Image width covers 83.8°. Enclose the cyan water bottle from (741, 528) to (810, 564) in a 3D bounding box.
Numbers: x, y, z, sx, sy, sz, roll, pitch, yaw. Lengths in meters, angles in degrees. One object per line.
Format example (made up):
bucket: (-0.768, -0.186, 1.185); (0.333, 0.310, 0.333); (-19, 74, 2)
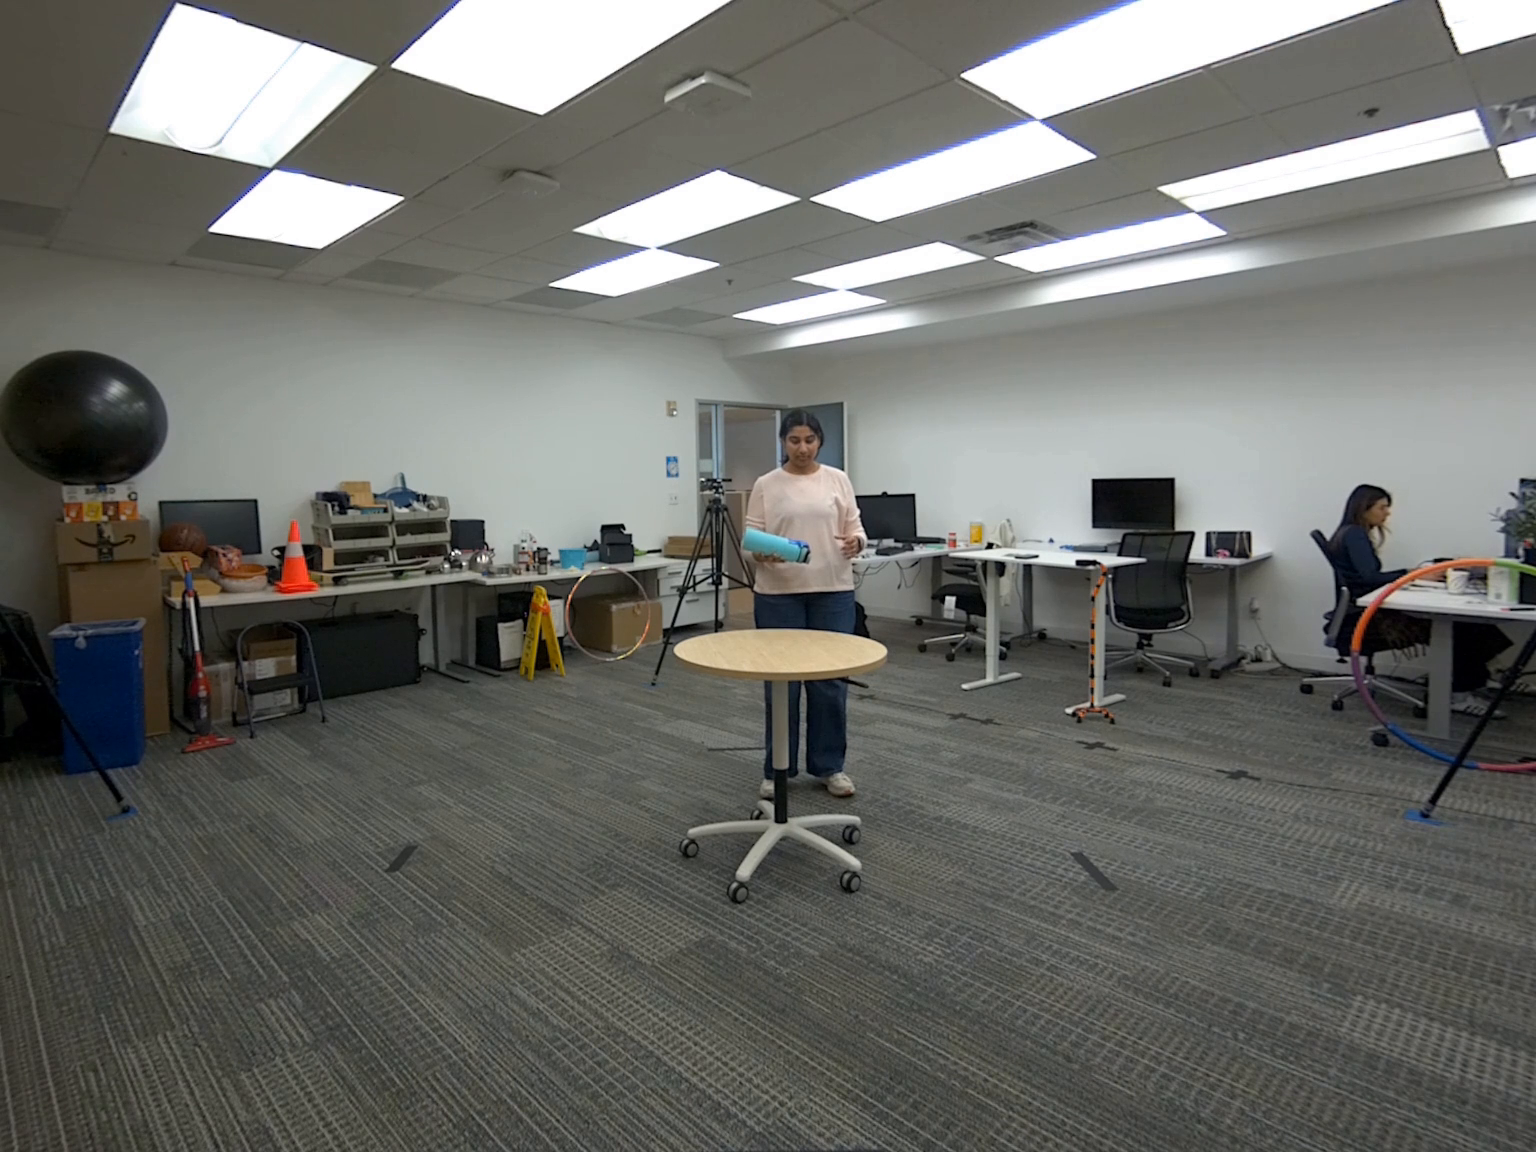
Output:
cyan water bottle: (0.045, -0.120, 3.458); (0.284, 0.092, 0.092); (14, 5, 2)
